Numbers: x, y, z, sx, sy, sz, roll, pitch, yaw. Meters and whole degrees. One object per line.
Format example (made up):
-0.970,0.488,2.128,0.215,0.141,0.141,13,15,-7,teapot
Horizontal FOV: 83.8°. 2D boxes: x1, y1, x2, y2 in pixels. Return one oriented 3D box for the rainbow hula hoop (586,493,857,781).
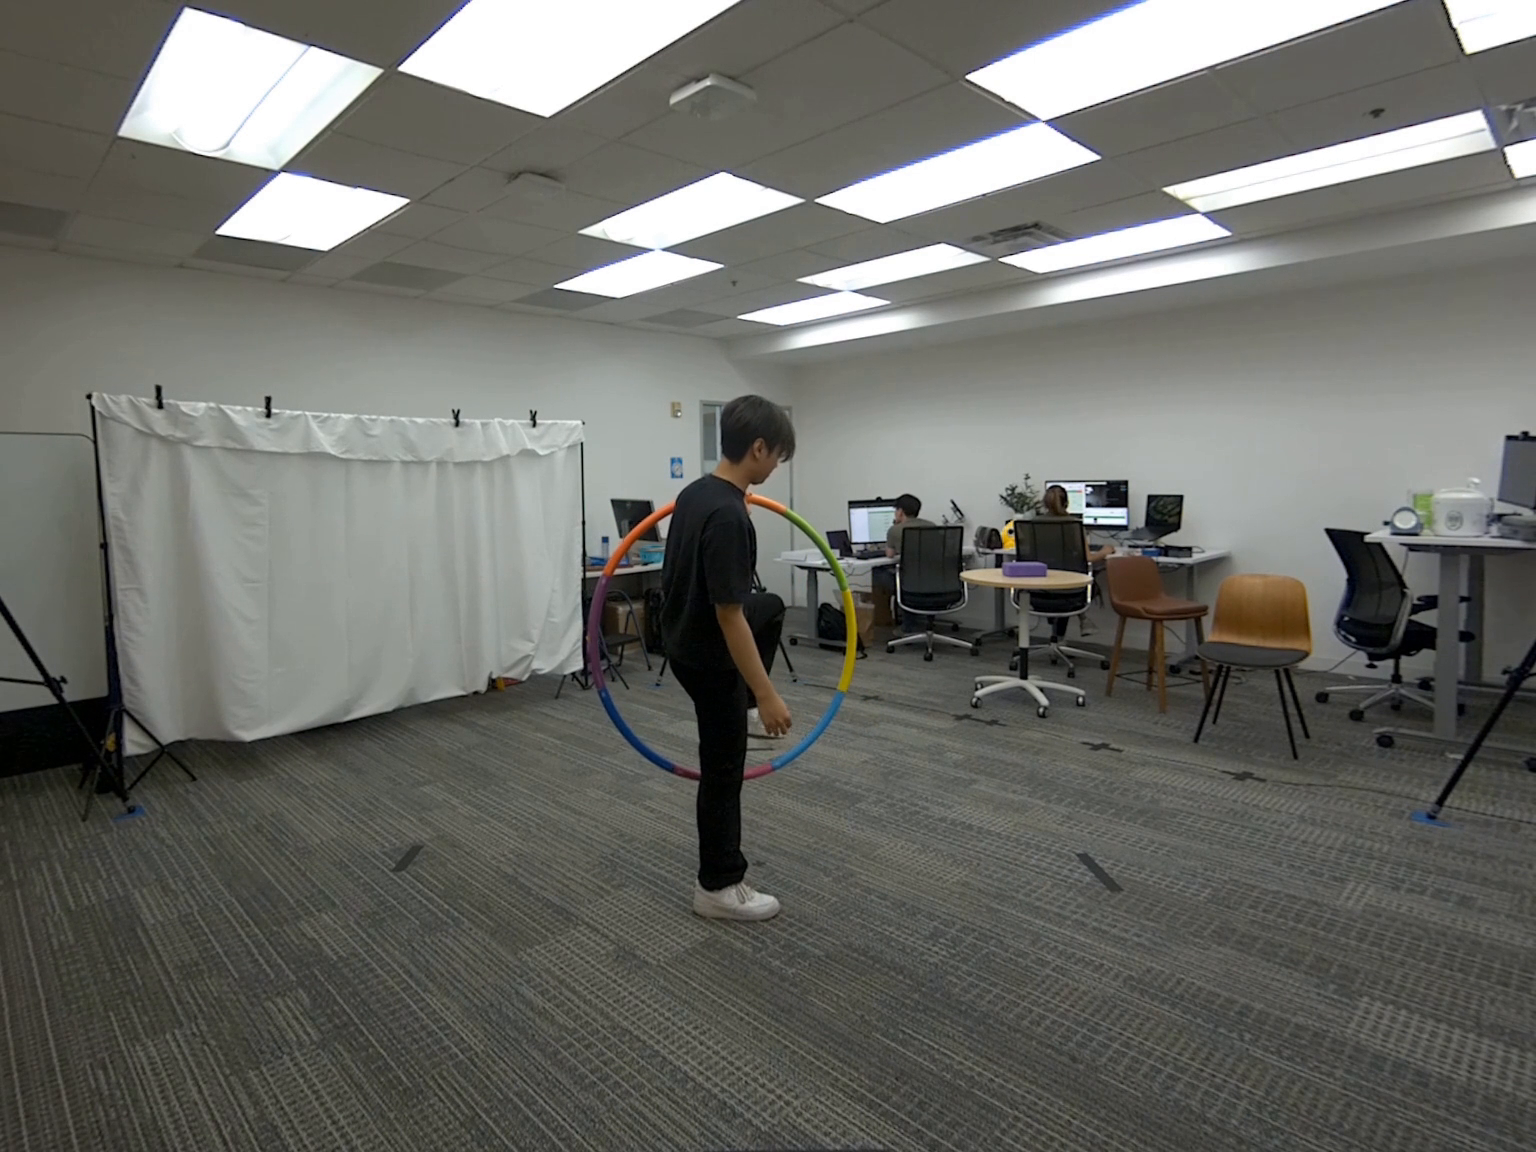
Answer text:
-0.133,0.194,2.944,0.961,0.981,0.036,-3,-2,-20,rainbow hula hoop
